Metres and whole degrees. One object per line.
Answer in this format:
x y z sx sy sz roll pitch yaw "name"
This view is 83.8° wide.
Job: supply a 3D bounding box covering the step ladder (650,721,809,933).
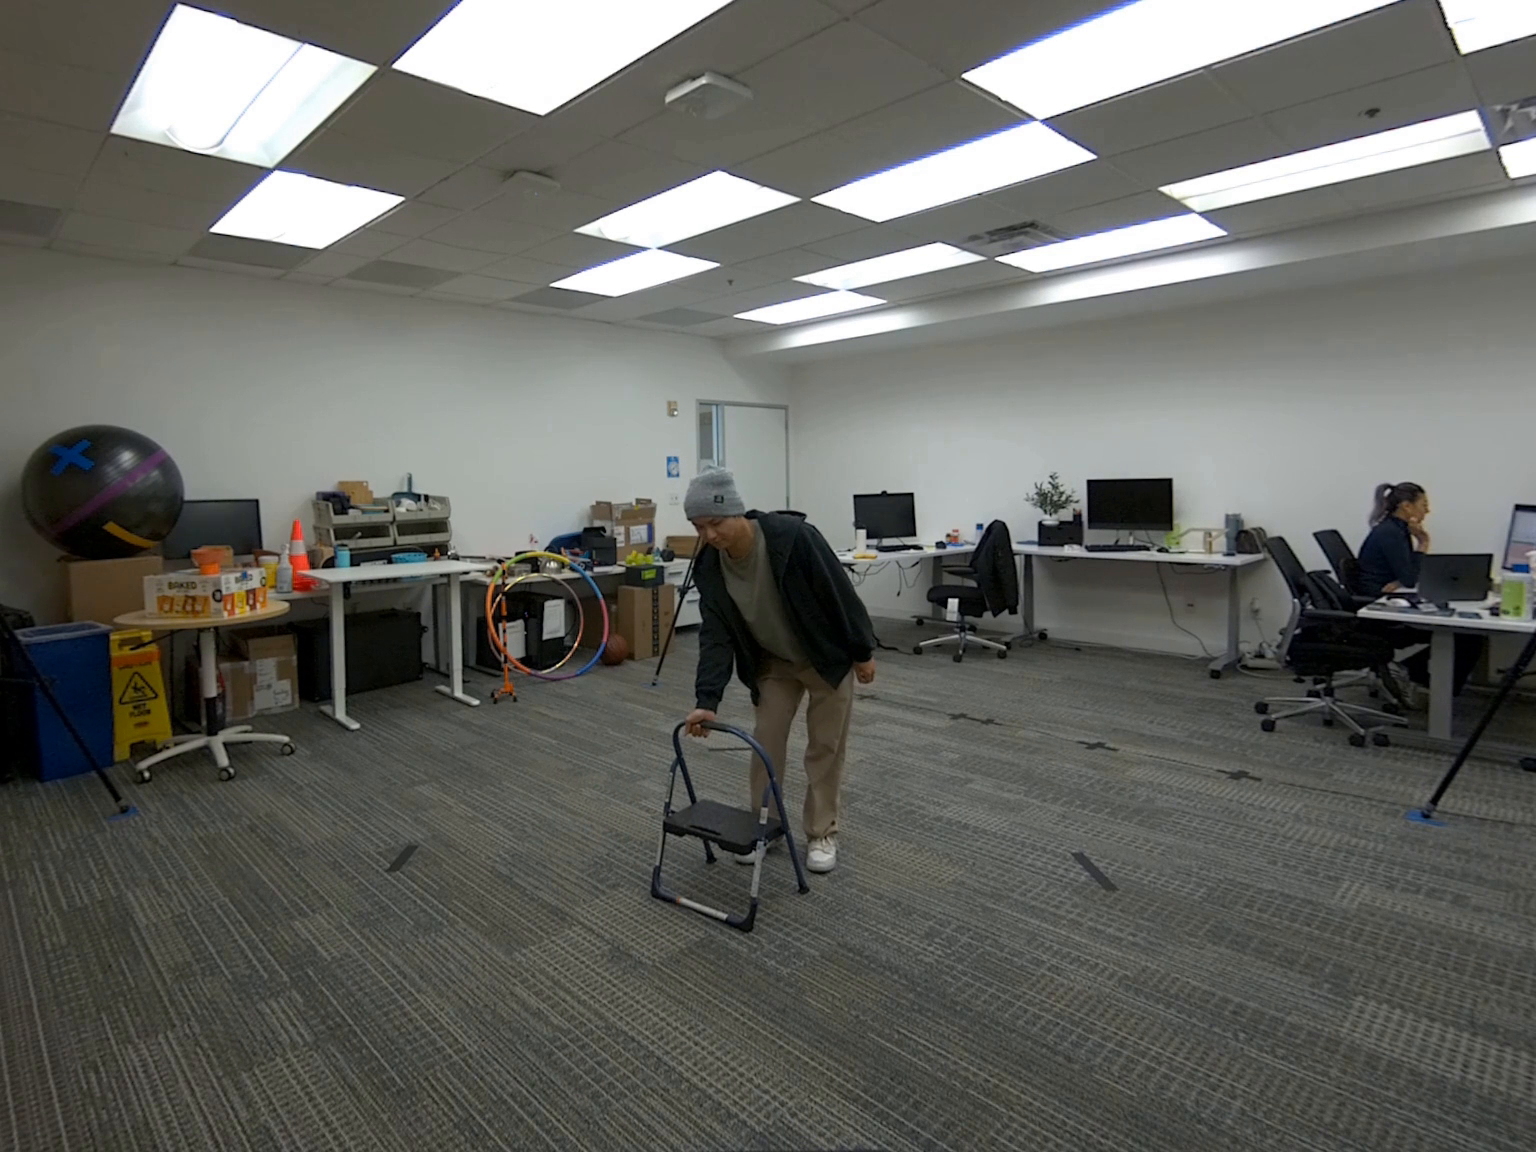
-0.135 0.771 2.864 0.443 0.604 0.341 2 5 35 "step ladder"
